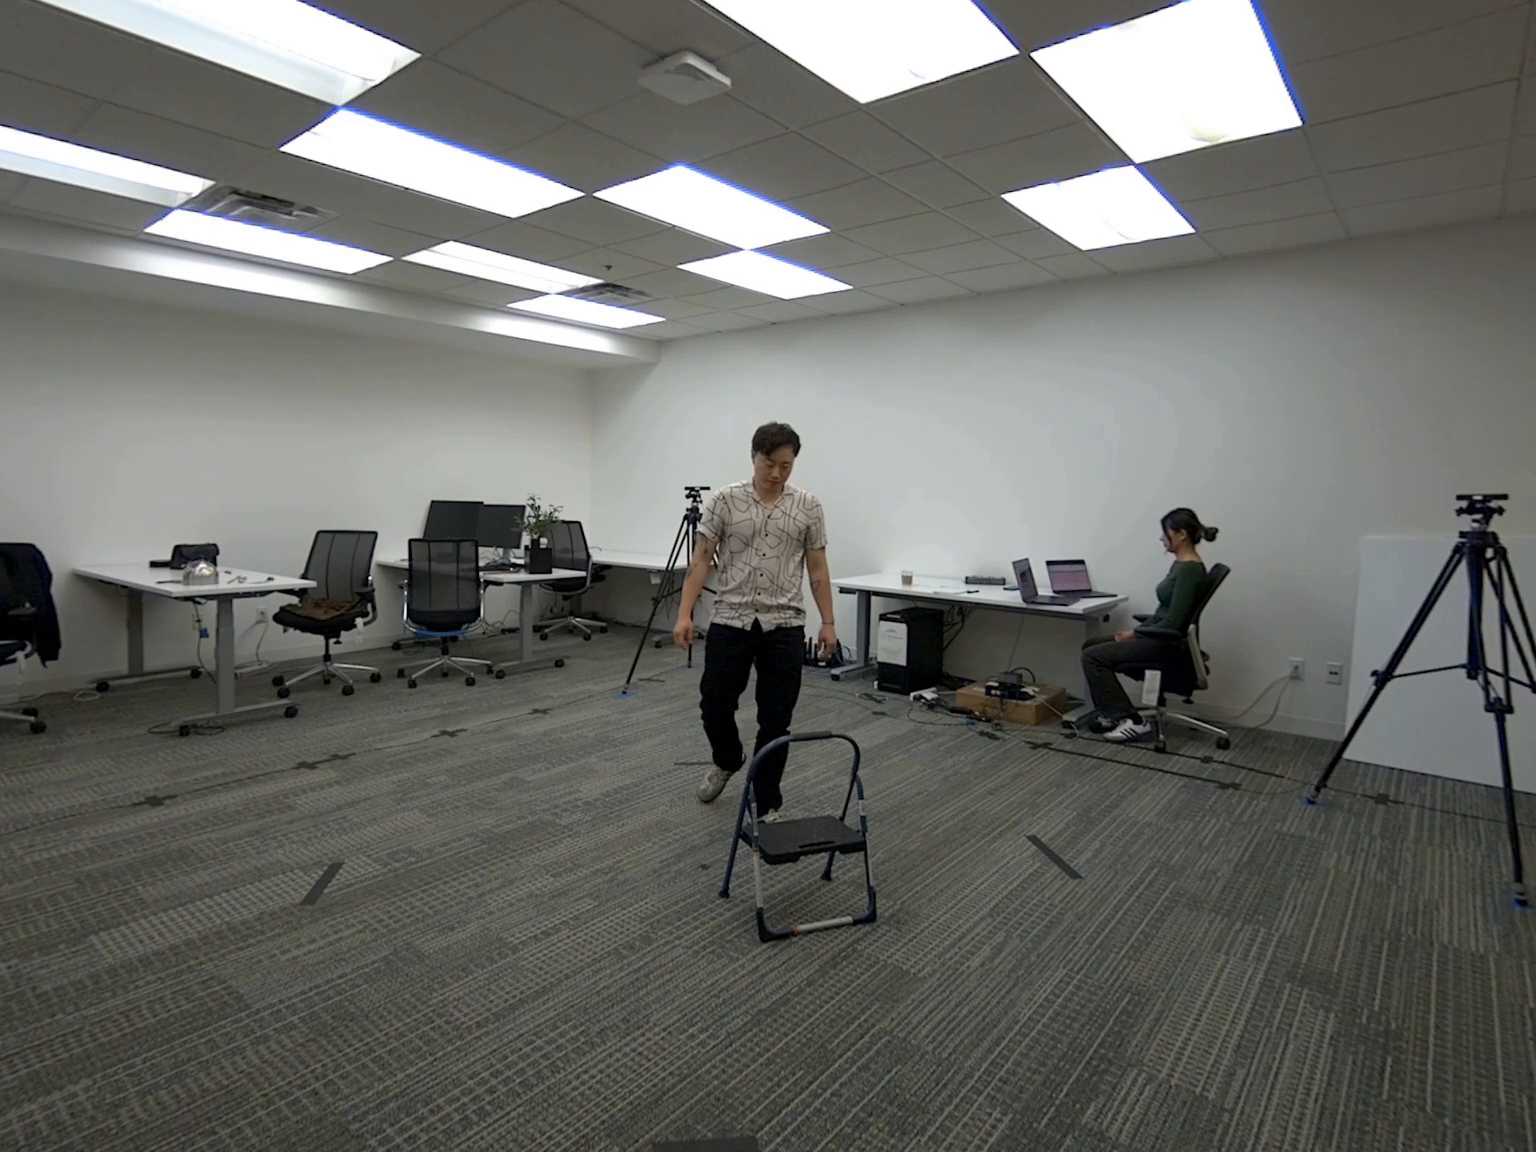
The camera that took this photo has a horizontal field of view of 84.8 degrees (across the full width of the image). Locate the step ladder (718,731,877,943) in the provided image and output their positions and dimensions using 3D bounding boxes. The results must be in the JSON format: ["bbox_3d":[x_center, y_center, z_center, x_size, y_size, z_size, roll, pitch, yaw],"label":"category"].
[{"bbox_3d":[0.096,0.797,2.817,0.421,0.604,0.358,-1,4,-24],"label":"step ladder"}]
